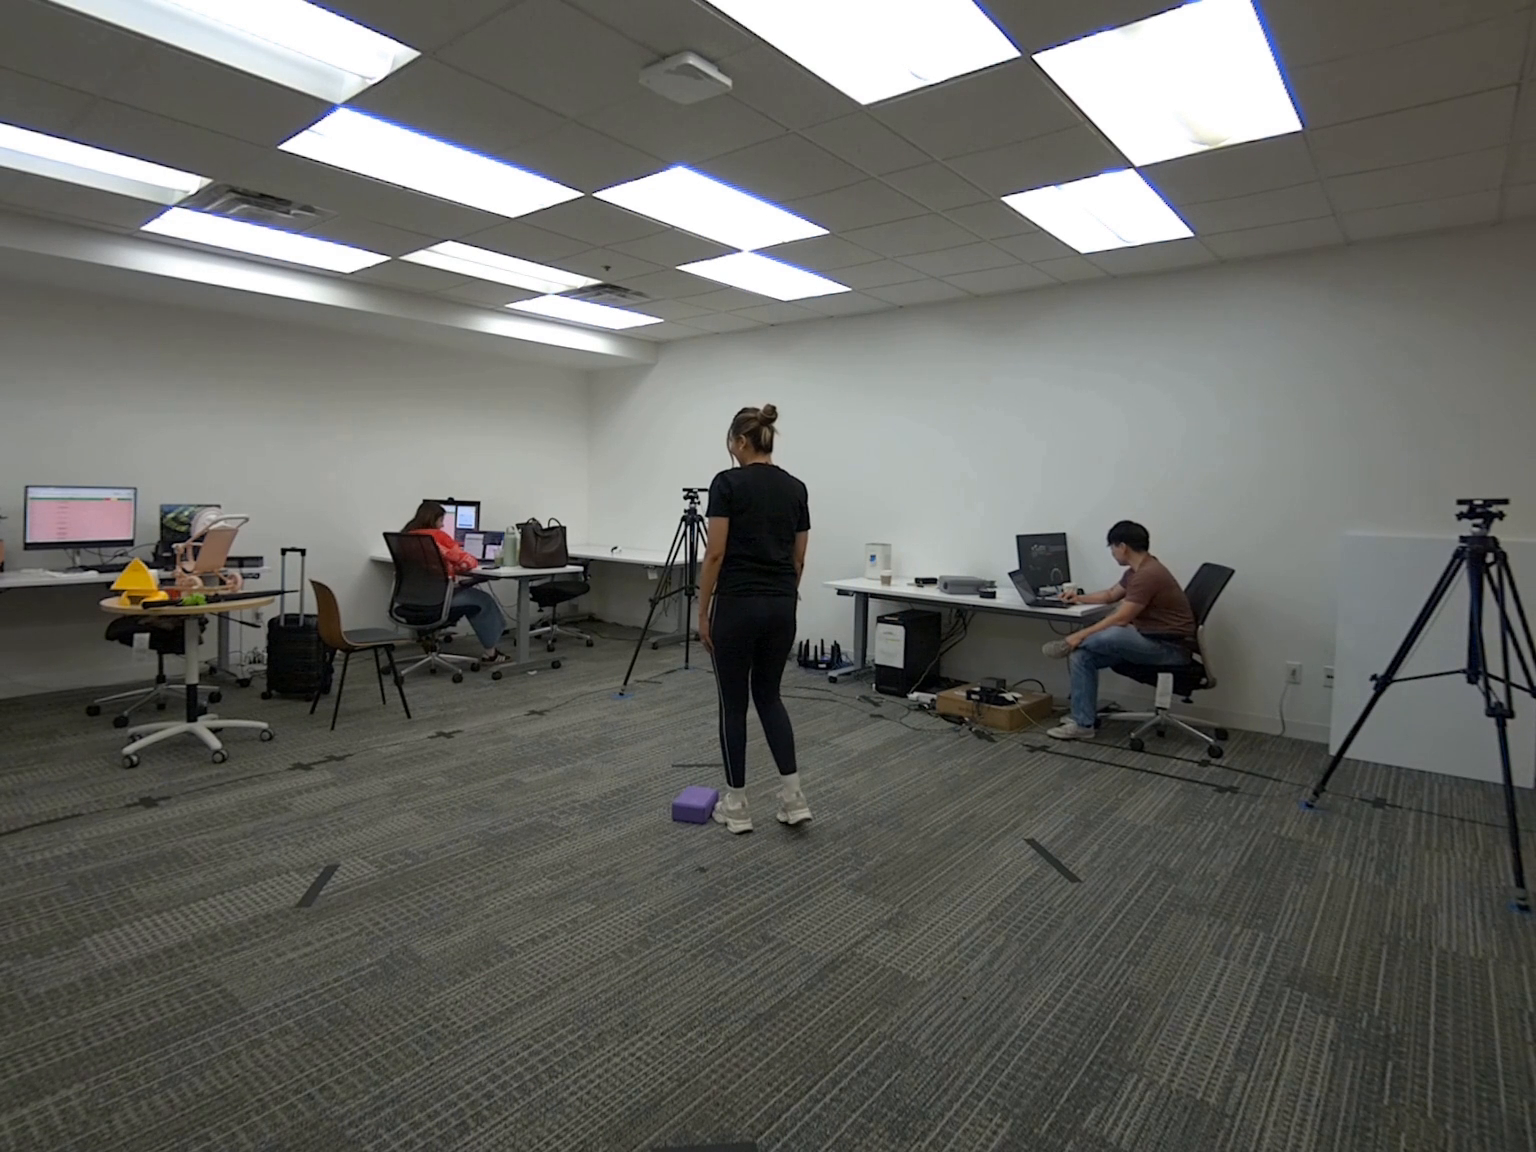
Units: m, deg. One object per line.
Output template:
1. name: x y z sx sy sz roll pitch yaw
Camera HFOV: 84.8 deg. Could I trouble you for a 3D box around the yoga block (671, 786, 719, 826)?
1. yoga block: -0.321 0.973 3.646 0.151 0.076 0.227 3 6 13
